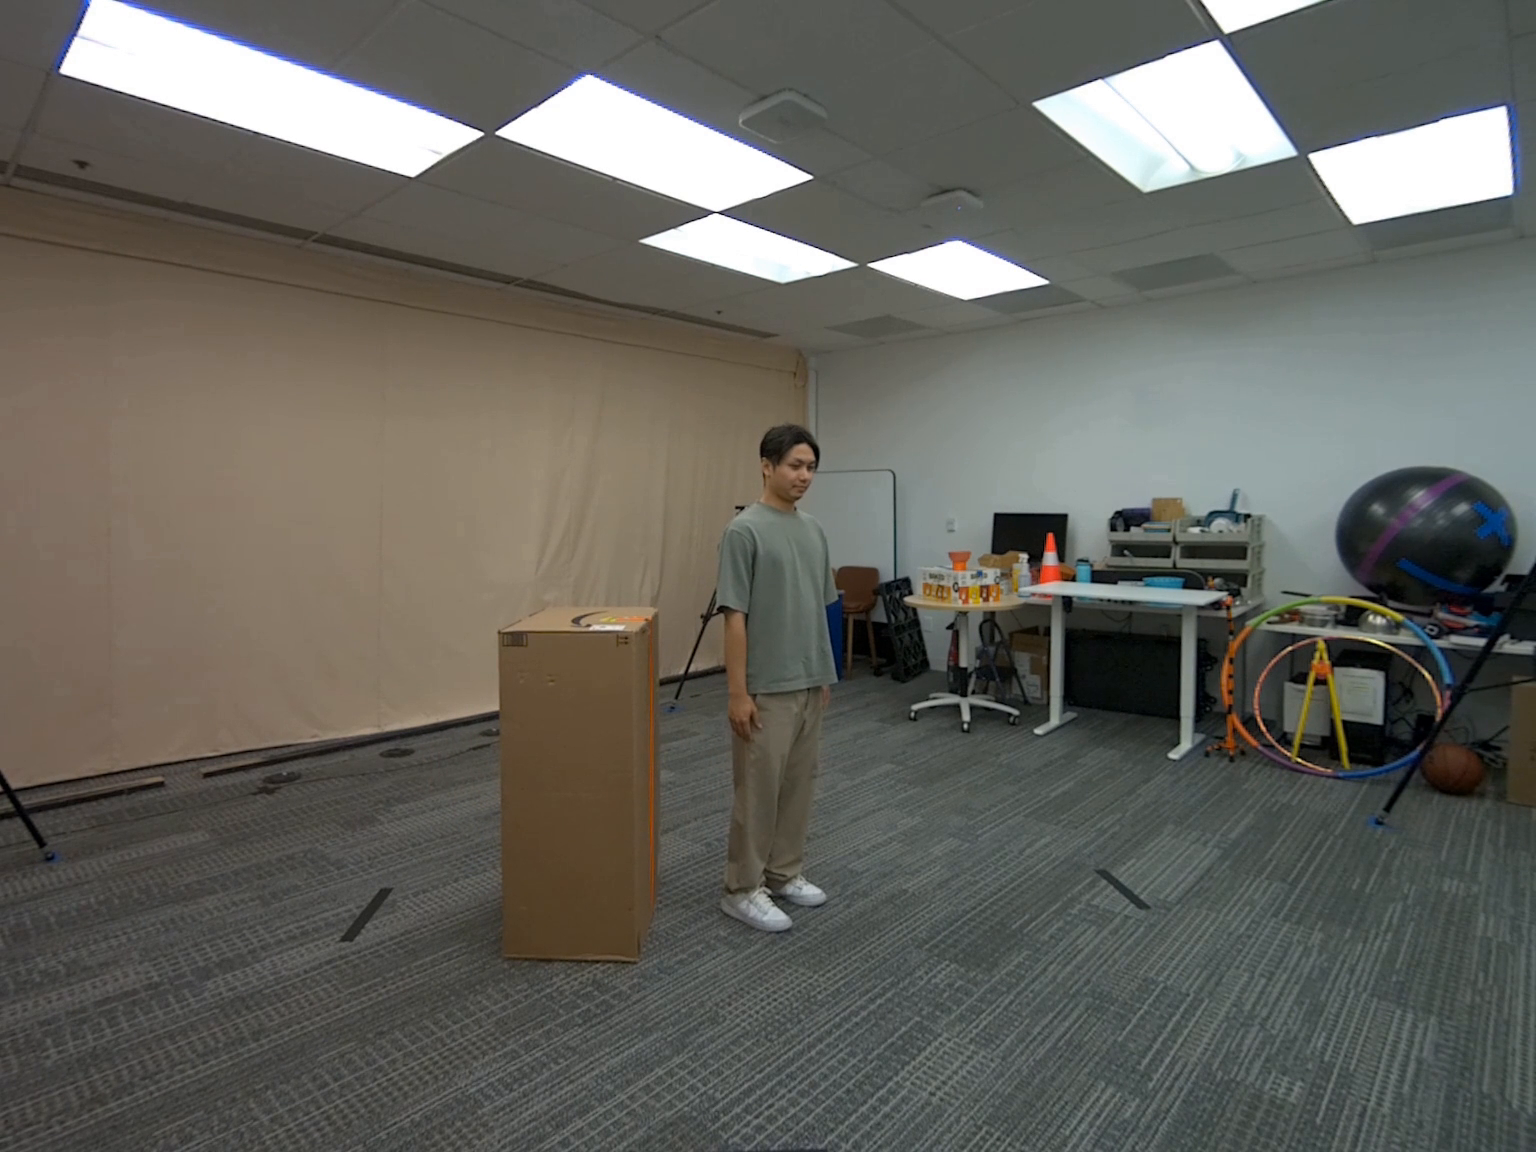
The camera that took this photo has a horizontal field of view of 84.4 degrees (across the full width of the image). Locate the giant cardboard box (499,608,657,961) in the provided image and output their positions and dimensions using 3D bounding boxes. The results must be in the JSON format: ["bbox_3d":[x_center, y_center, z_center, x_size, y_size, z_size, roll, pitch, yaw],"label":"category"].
[{"bbox_3d":[-0.608,0.651,2.837,0.427,1.024,0.578,0,3,0],"label":"giant cardboard box"}]
